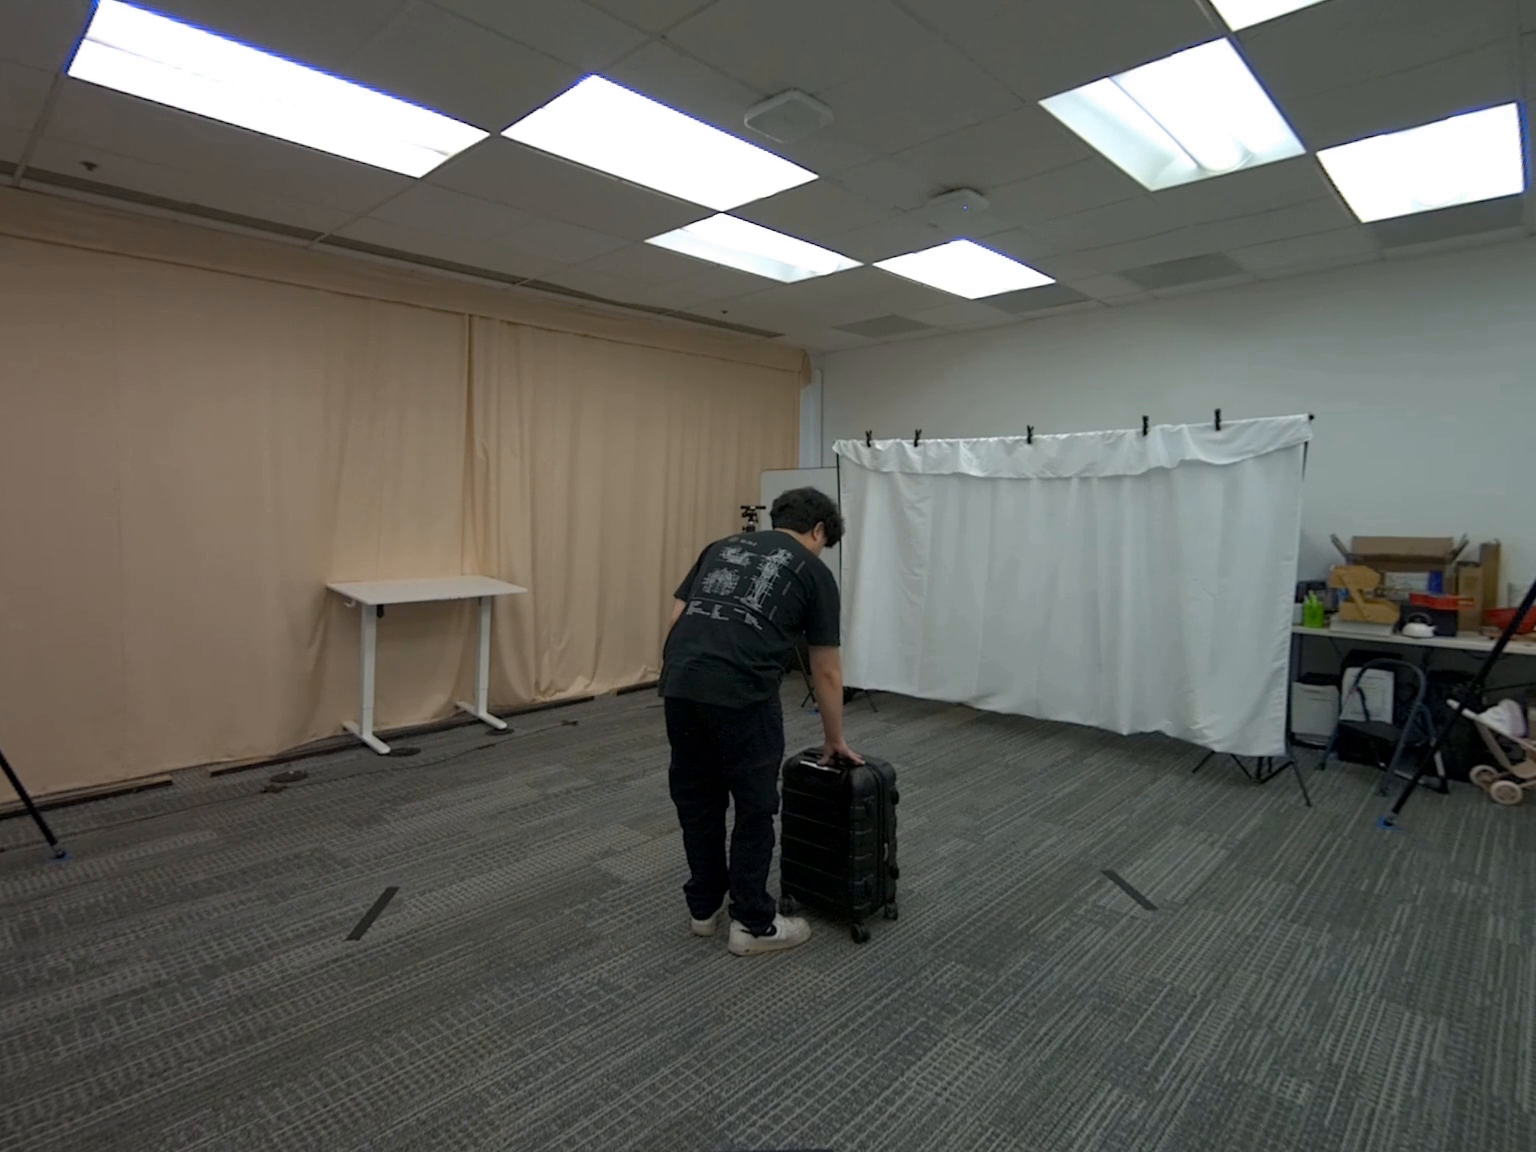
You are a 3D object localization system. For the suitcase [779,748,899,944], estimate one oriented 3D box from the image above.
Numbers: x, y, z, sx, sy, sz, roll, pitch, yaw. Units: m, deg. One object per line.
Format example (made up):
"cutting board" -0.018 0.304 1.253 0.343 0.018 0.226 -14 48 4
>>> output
"suitcase" 0.242 0.876 2.878 0.388 0.549 0.240 2 2 41
